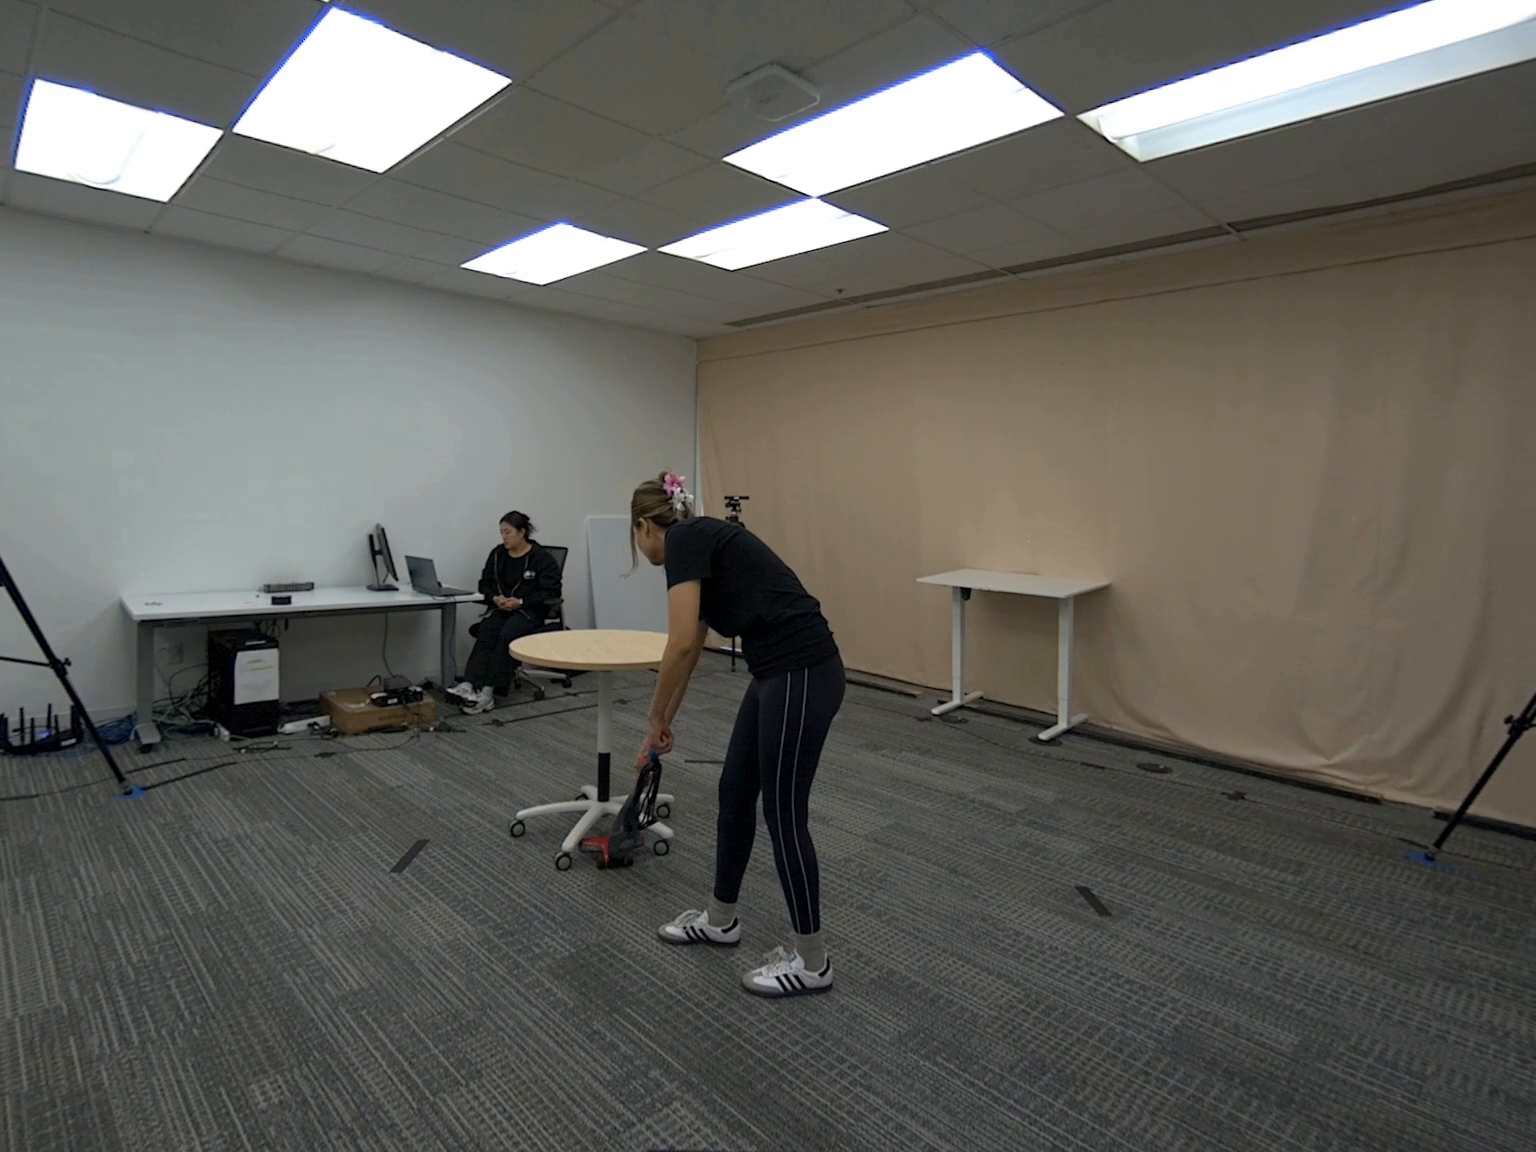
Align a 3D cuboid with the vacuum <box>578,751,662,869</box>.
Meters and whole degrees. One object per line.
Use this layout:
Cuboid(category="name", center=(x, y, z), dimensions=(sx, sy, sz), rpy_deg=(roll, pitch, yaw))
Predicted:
Cuboid(category="vacuum", center=(-0.439, 0.771, 2.790), dimensions=(0.248, 0.147, 1.042), rpy_deg=(-4, -30, -24))
